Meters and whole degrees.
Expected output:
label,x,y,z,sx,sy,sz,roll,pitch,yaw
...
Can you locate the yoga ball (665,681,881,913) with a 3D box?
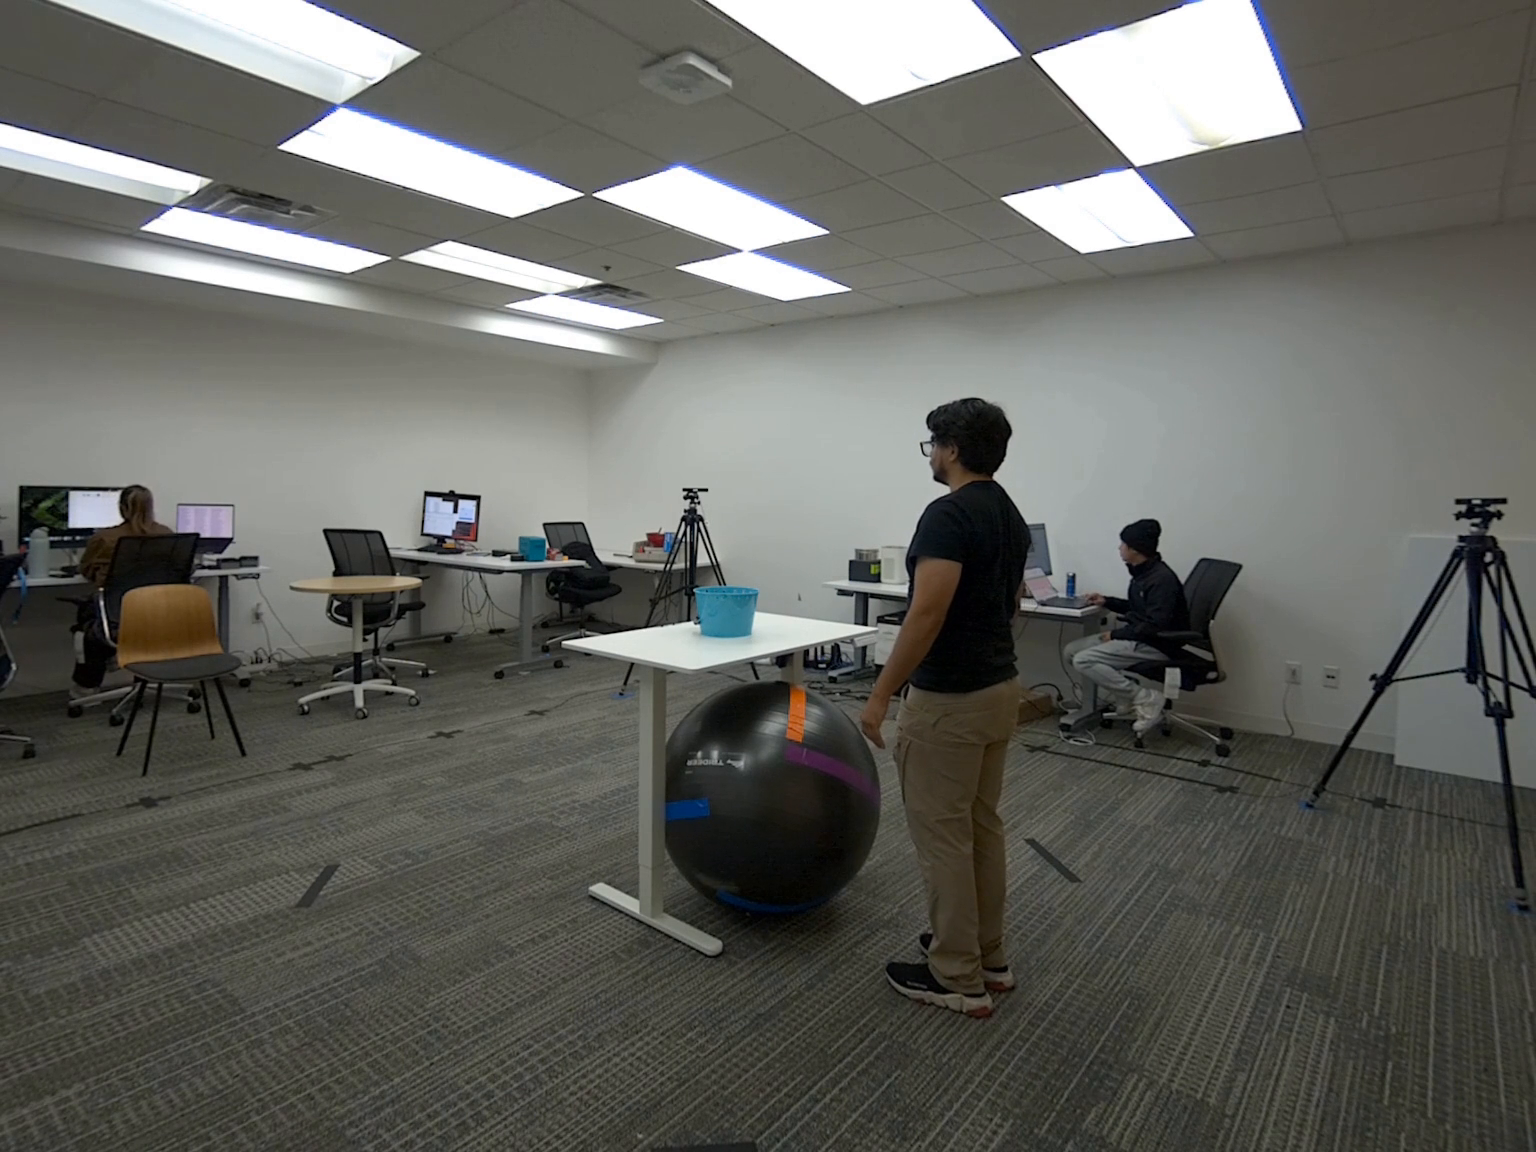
label,x,y,z,sx,sy,sz,roll,pitch,yaw
yoga ball,-0.005,0.743,2.849,0.757,0.755,0.762,1,4,-2
